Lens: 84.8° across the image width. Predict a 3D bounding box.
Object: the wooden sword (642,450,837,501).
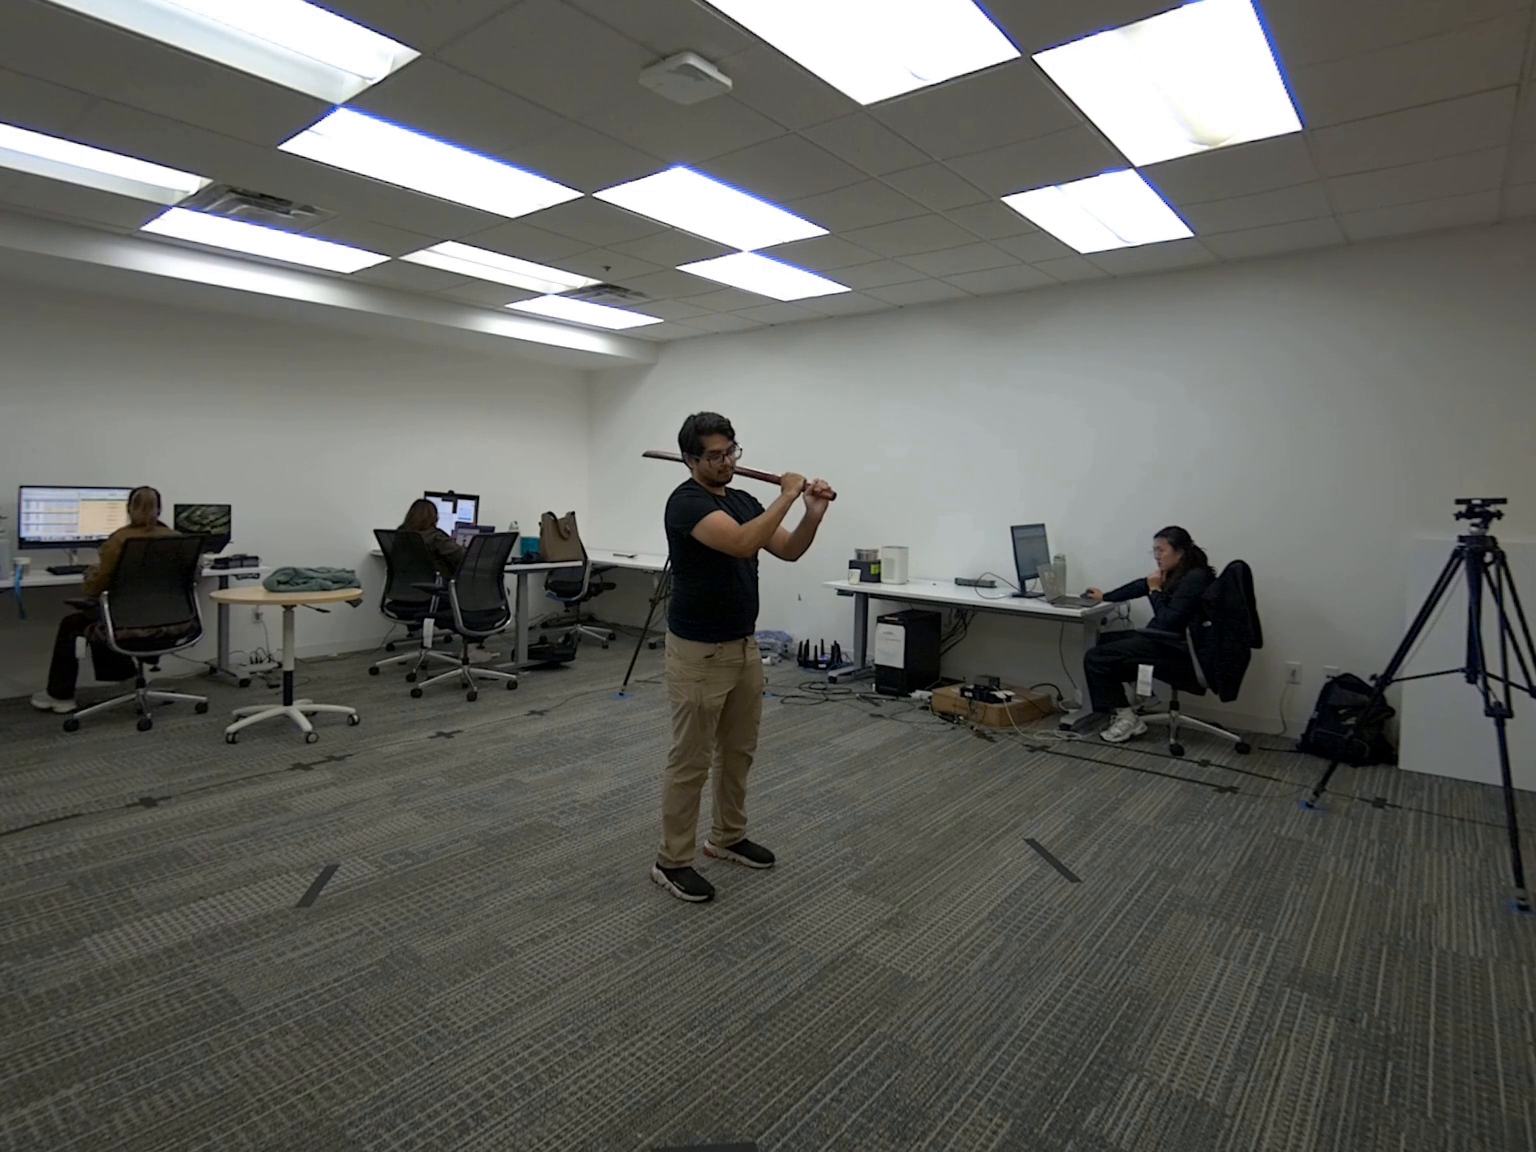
[{"bbox_3d":[-0.141,-0.396,3.131,1.066,0.049,0.024,19,54,44],"label":"wooden sword"}]
